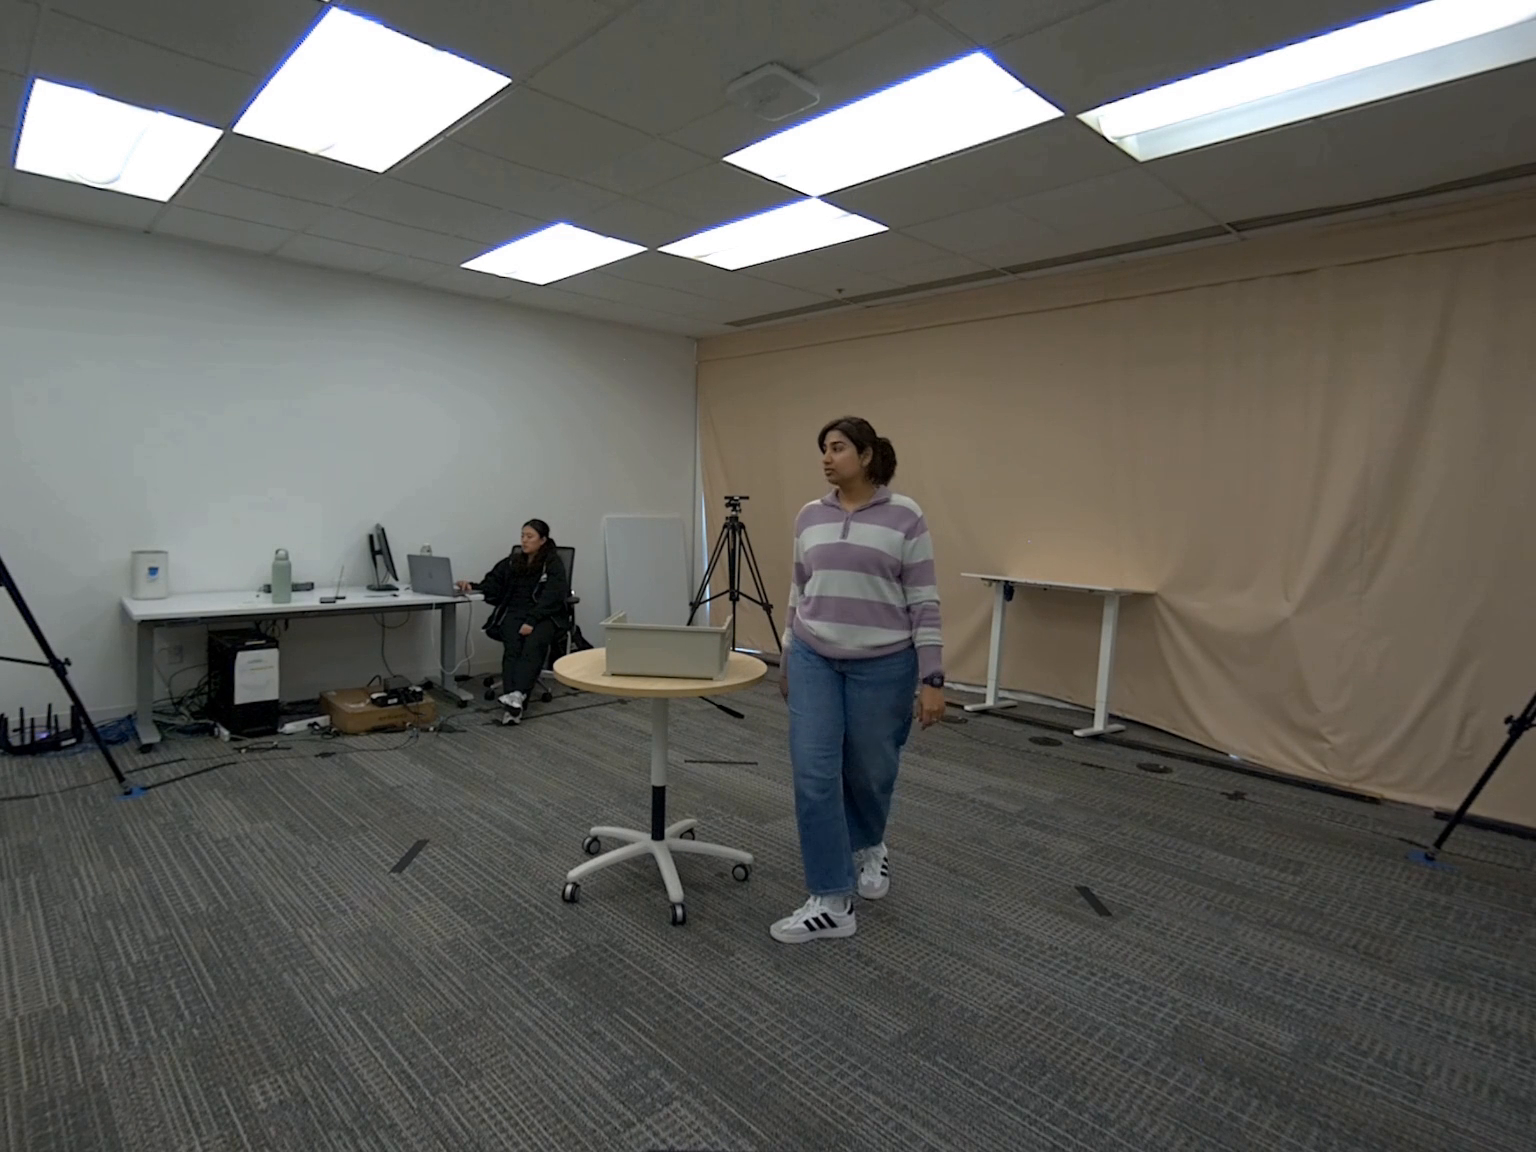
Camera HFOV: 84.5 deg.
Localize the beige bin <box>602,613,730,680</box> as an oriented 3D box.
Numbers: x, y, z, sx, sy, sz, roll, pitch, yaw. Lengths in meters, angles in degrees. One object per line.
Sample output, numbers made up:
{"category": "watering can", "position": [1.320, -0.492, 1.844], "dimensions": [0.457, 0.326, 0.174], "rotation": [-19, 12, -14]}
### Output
{"category": "beige bin", "position": [-0.350, 0.235, 2.988], "dimensions": [0.424, 0.188, 0.377], "rotation": [3, 6, 4]}
